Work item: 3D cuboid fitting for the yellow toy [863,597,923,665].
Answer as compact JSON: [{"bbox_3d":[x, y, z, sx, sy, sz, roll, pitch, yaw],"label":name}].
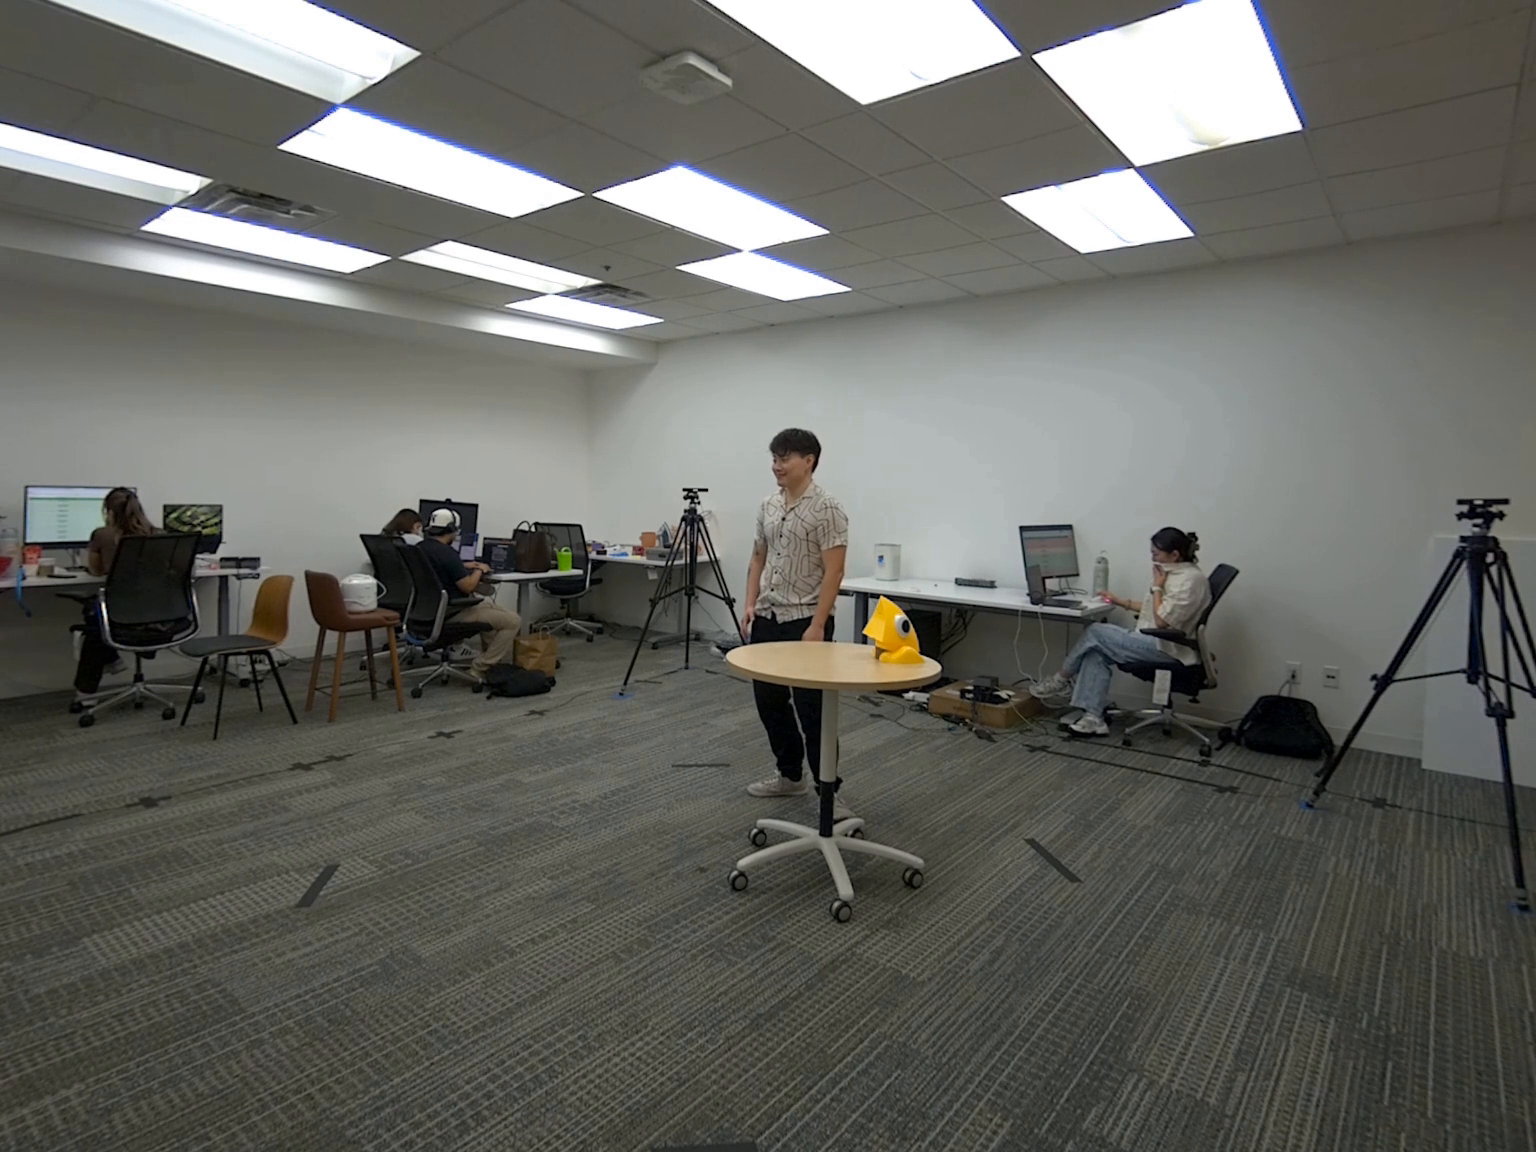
[{"bbox_3d":[0.458,0.180,3.126,0.191,0.230,0.208,-3,4,-12],"label":"yellow toy"}]
